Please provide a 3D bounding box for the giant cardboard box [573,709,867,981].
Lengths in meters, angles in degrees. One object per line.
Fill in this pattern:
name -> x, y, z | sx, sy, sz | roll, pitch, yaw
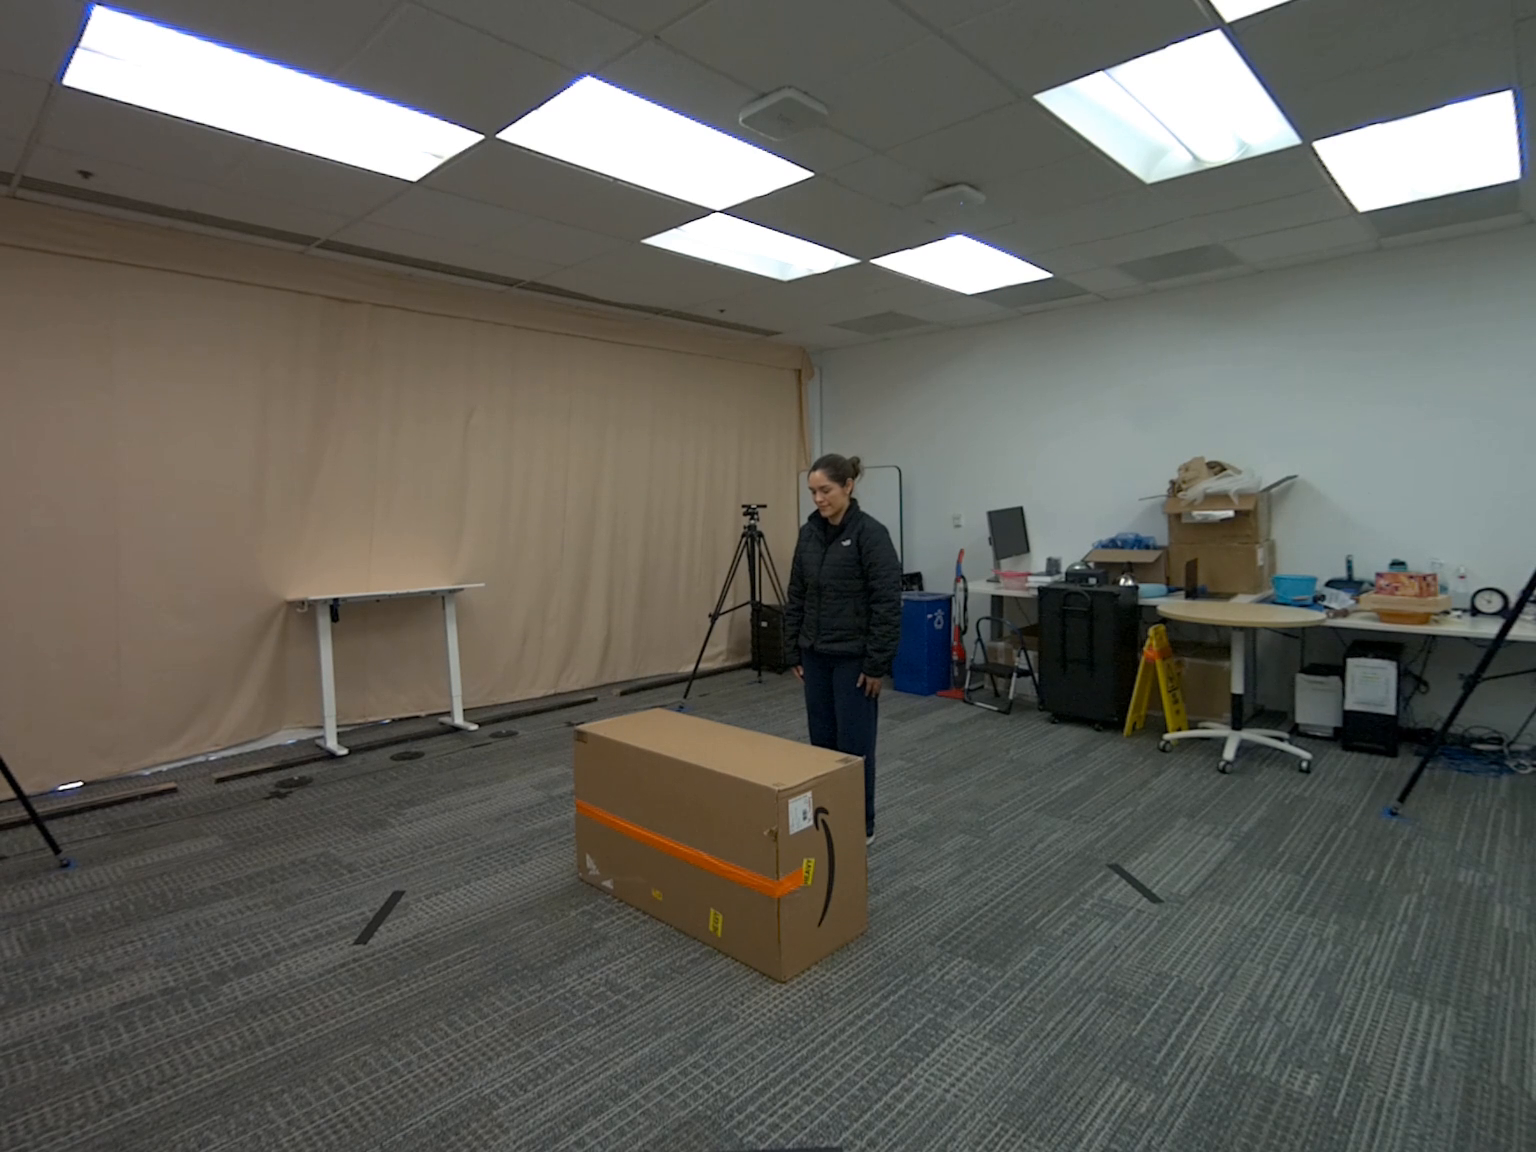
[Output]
giant cardboard box -> -0.191, 0.862, 2.933 | 1.061, 0.583, 0.433 | 3, 4, 44
